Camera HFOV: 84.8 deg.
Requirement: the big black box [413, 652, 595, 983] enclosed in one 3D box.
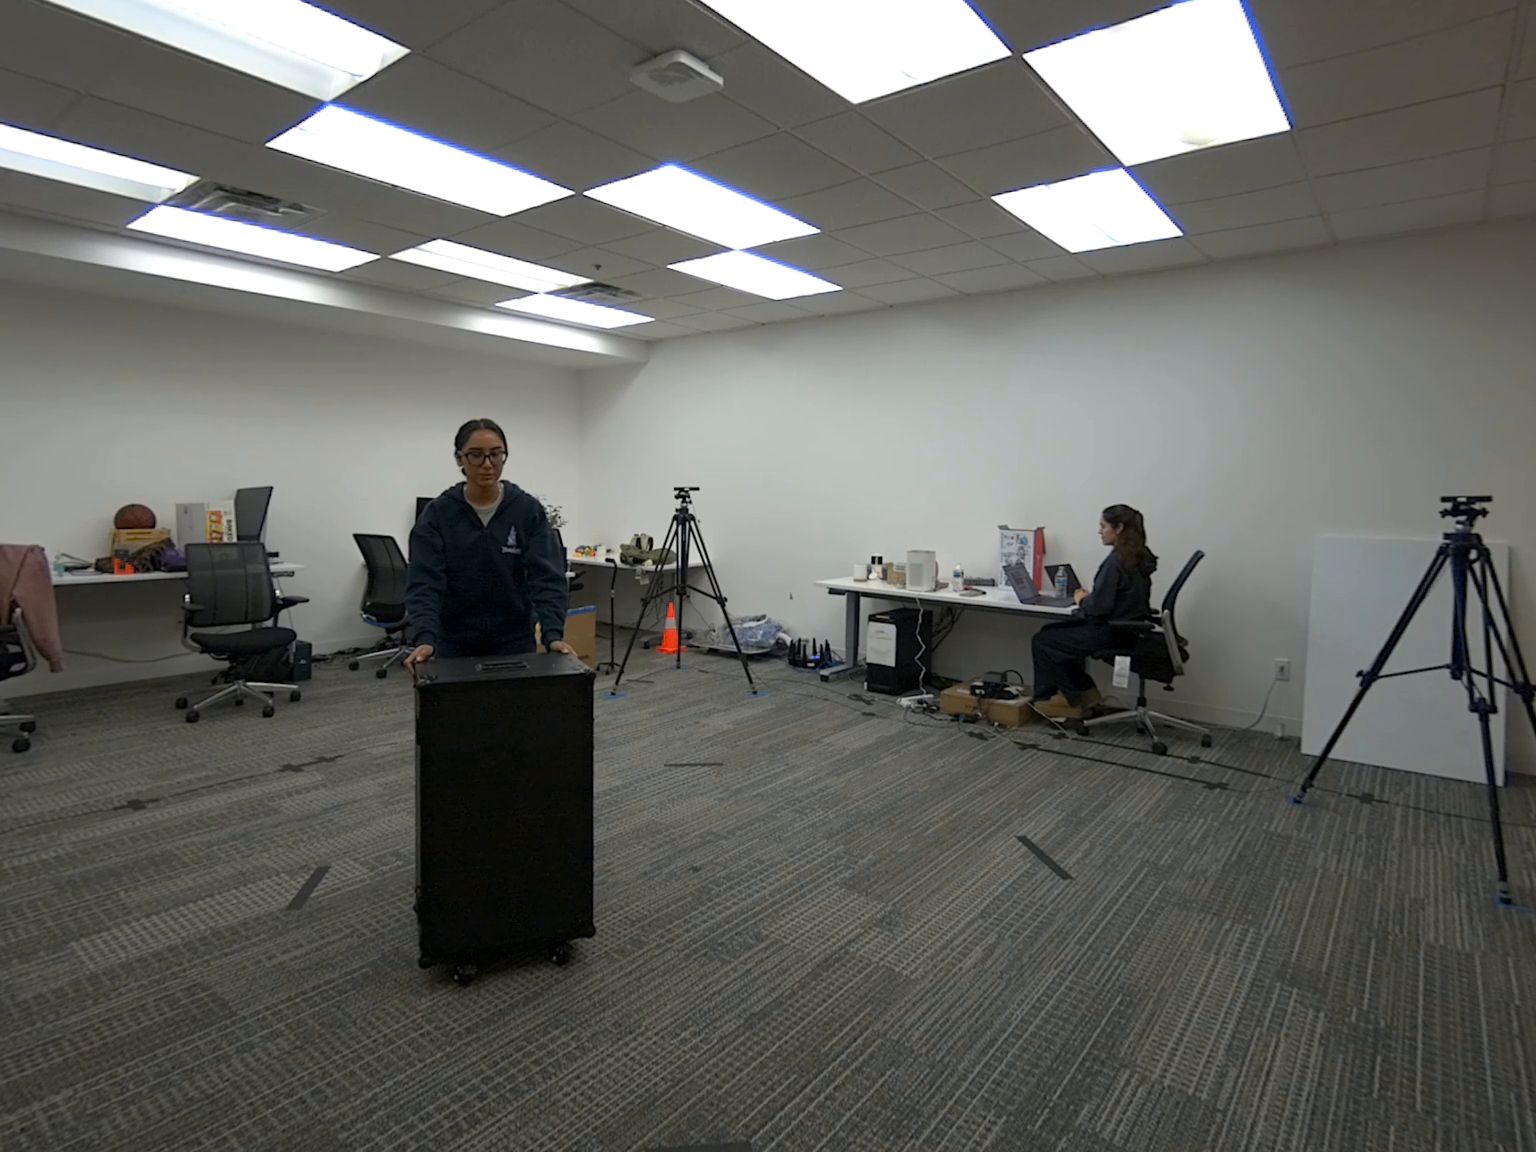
[{"bbox_3d":[-0.818,0.690,2.552,0.510,0.860,0.406,-1,2,-23],"label":"big black box"}]
